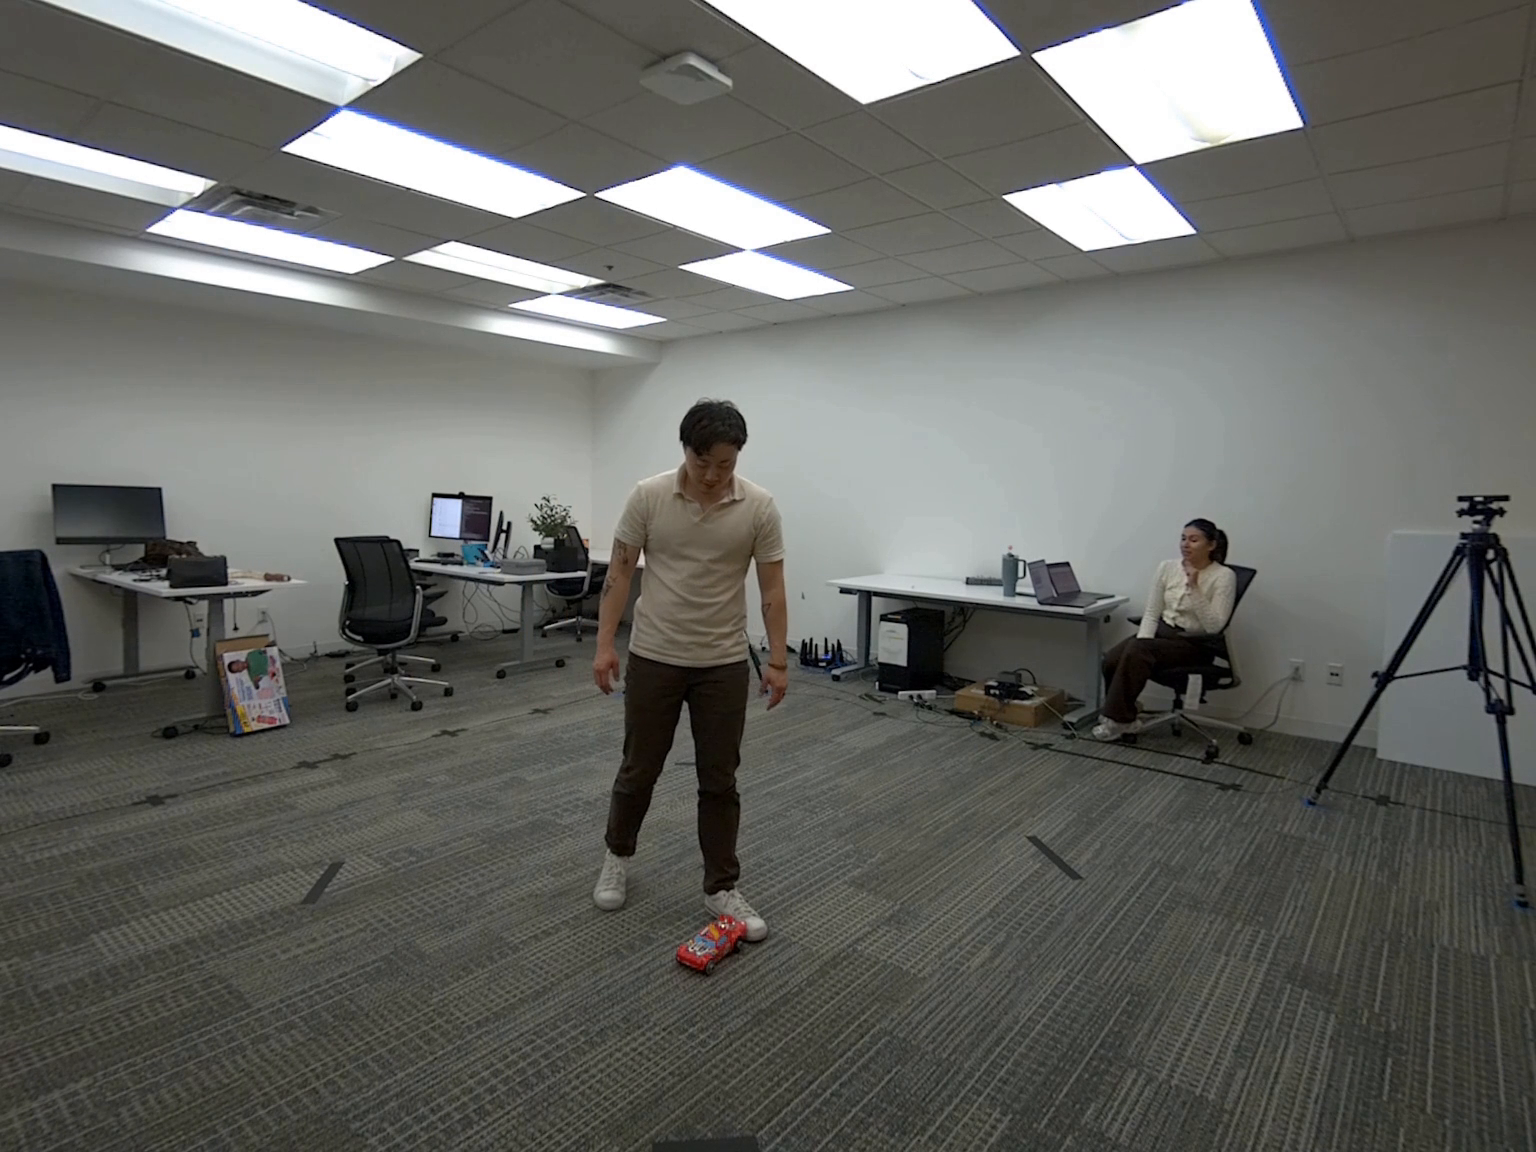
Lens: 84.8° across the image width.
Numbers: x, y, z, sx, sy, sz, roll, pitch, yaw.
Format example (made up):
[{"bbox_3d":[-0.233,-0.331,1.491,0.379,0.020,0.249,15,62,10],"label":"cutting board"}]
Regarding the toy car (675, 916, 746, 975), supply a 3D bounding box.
[{"bbox_3d":[-0.165,1.090,2.531,0.134,0.082,0.250,4,18,33],"label":"toy car"}]
